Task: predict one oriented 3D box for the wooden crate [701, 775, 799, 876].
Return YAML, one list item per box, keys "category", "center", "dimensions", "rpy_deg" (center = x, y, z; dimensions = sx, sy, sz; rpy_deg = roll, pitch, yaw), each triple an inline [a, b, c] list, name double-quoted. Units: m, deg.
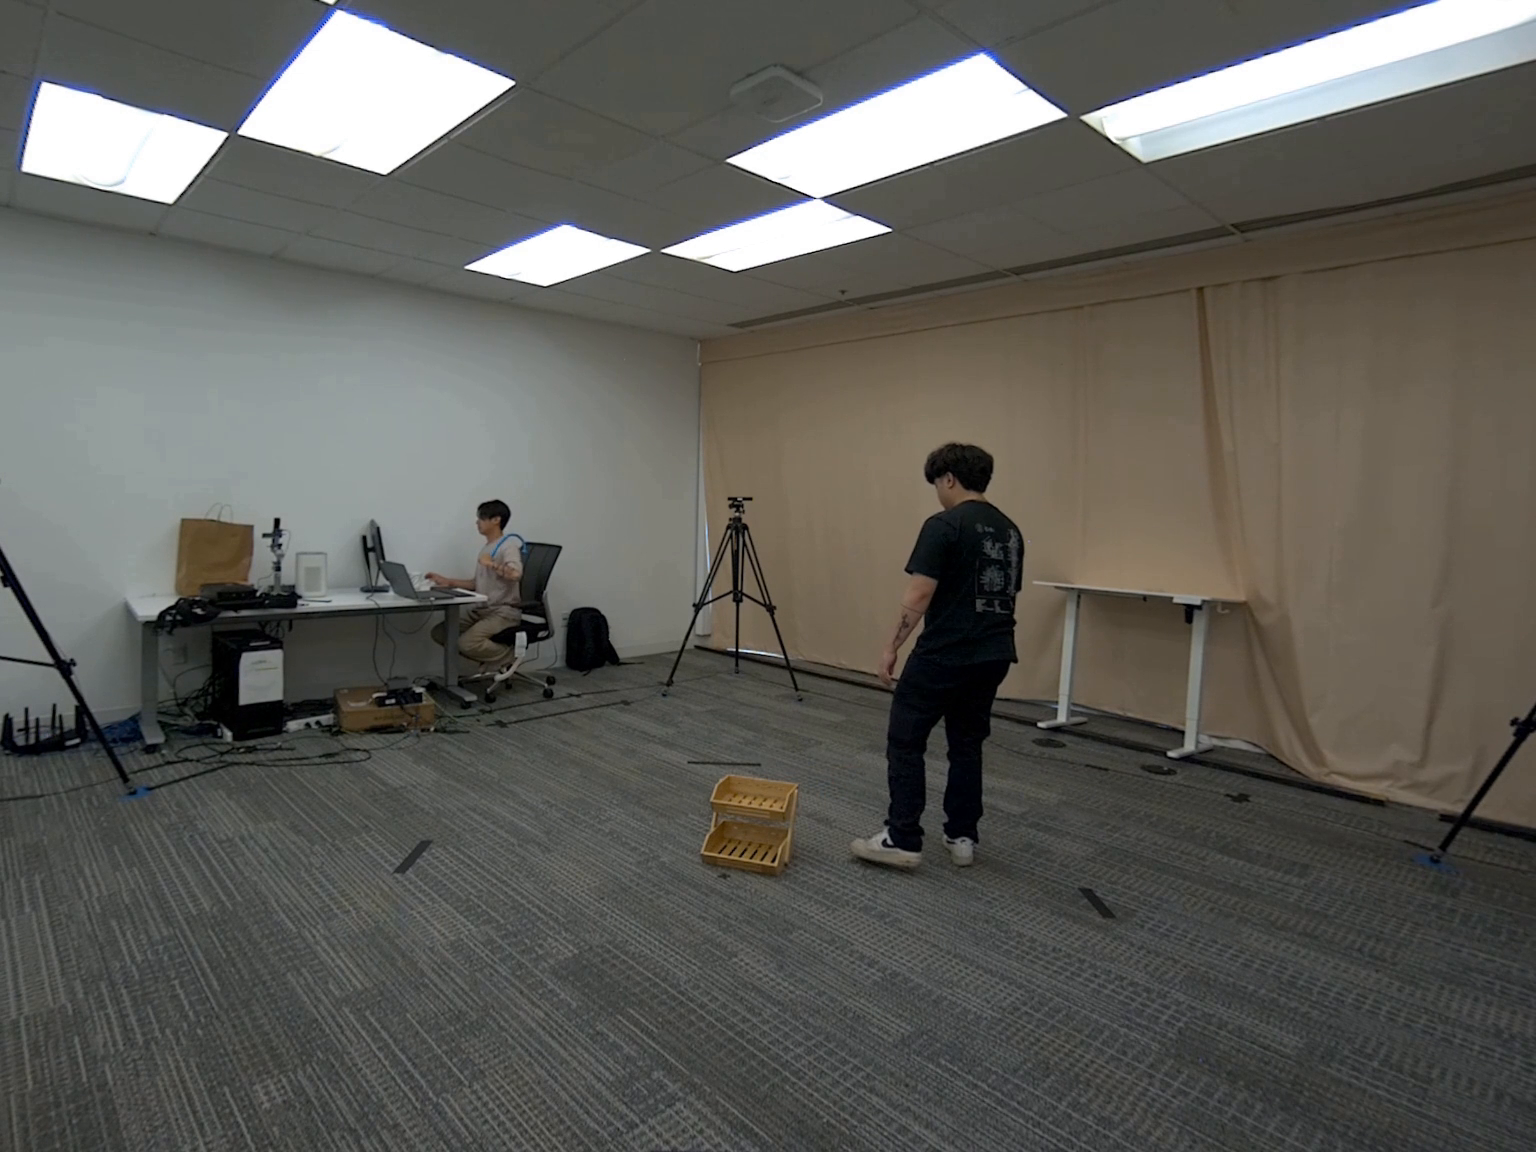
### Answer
- category: "wooden crate"
  center: [-0.074, 0.962, 3.269]
  dimensions: [0.329, 0.273, 0.298]
  rpy_deg: [2, 3, 17]
